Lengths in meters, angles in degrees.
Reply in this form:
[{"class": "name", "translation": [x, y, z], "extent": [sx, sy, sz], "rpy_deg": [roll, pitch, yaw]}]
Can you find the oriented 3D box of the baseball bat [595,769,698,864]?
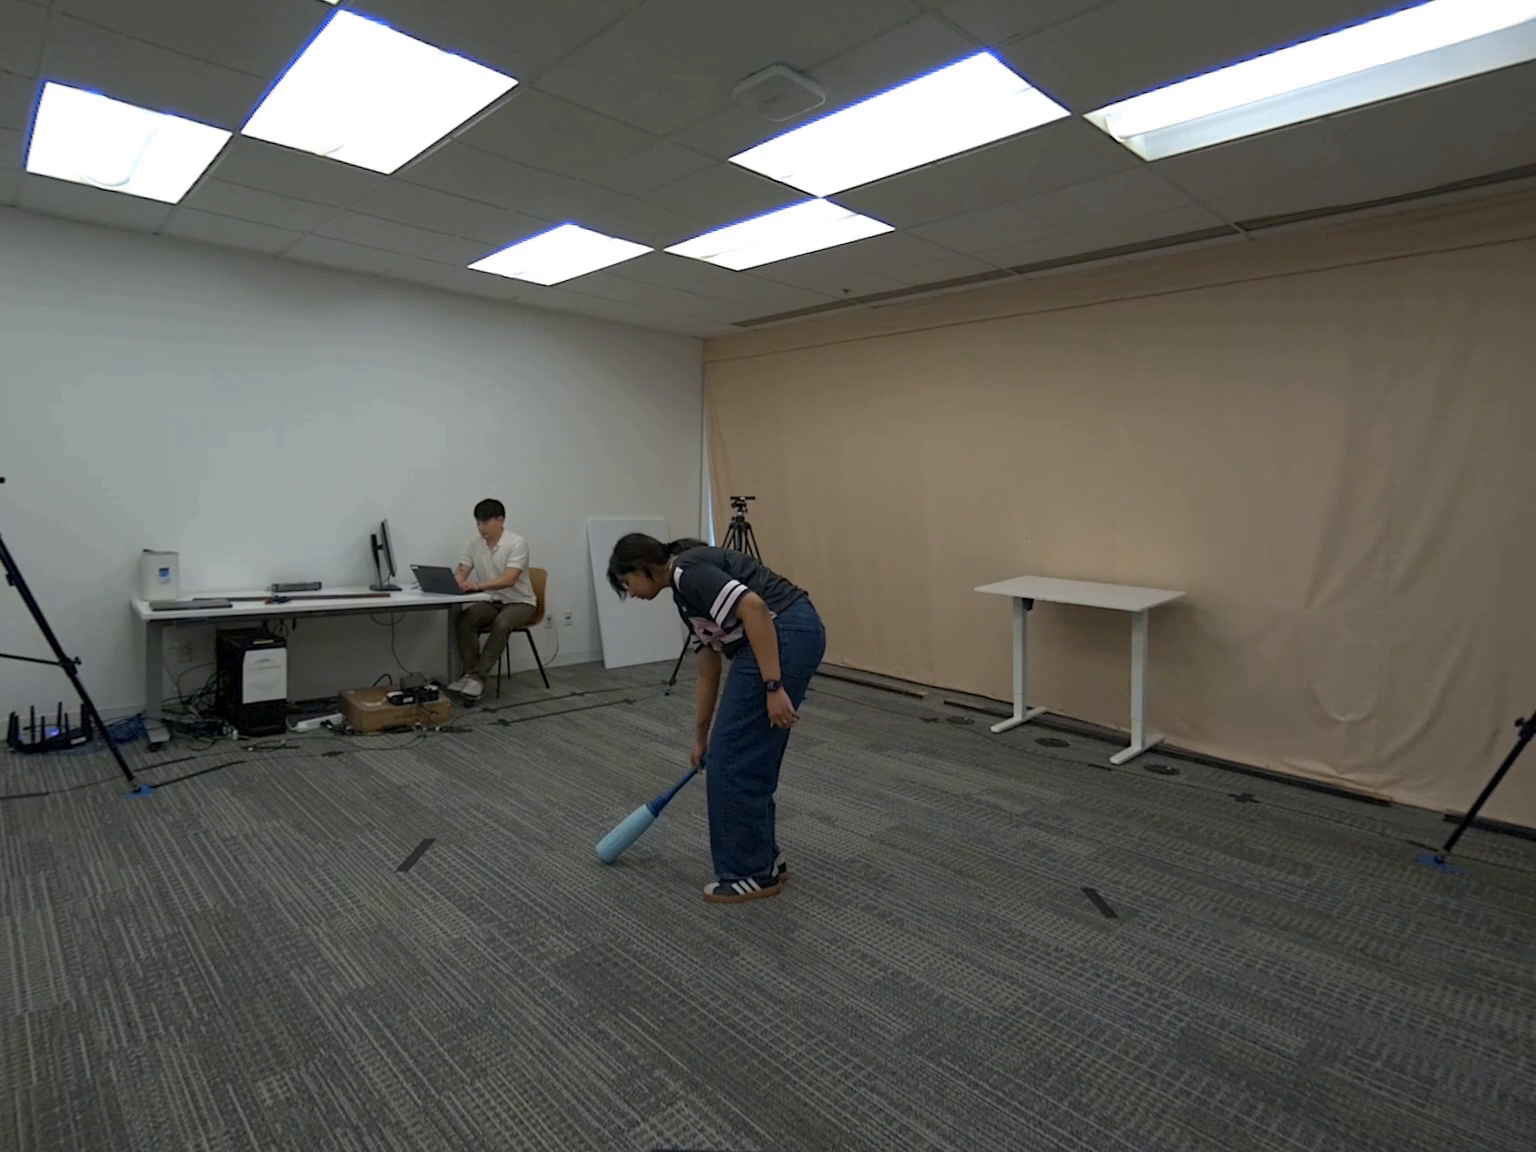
[{"class": "baseball bat", "translation": [-0.429, 0.885, 3.204], "extent": [0.542, 0.088, 0.090], "rpy_deg": [-40, 12, -8]}]
